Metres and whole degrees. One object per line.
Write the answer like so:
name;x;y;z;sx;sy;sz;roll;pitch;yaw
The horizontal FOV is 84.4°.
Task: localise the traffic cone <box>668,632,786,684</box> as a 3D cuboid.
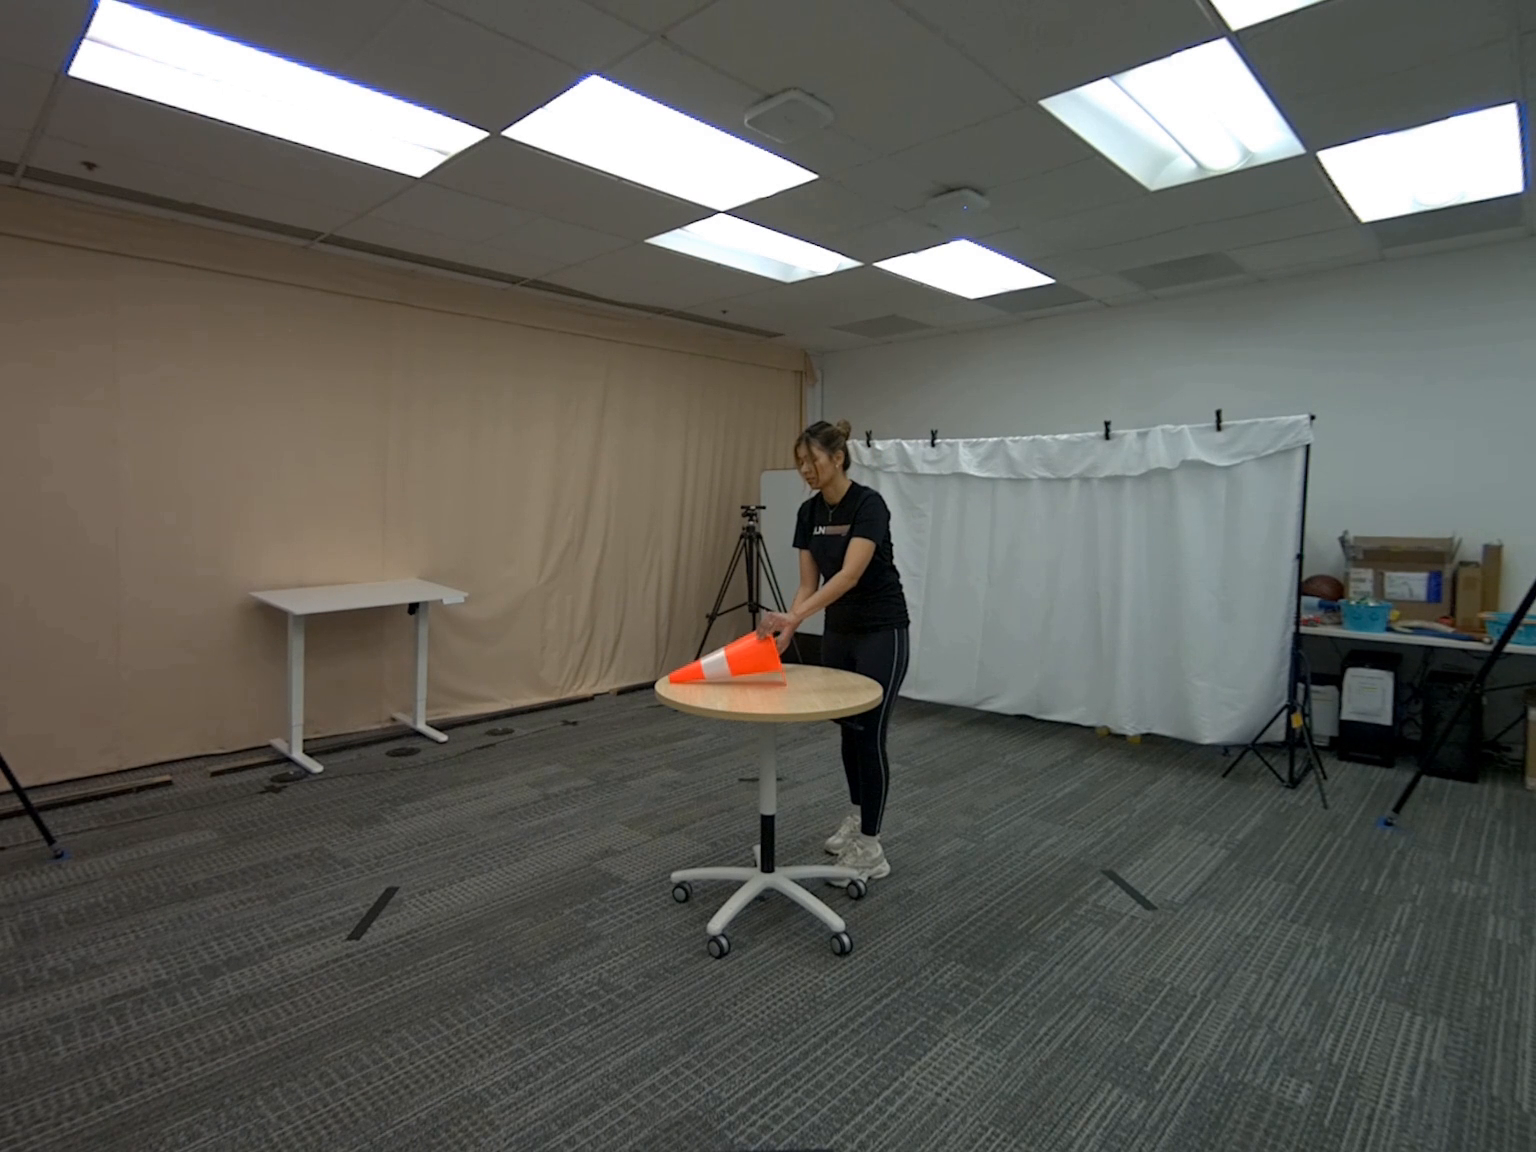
traffic cone;-0.161;0.299;2.877;0.386;0.210;0.197;-15;-42;6
